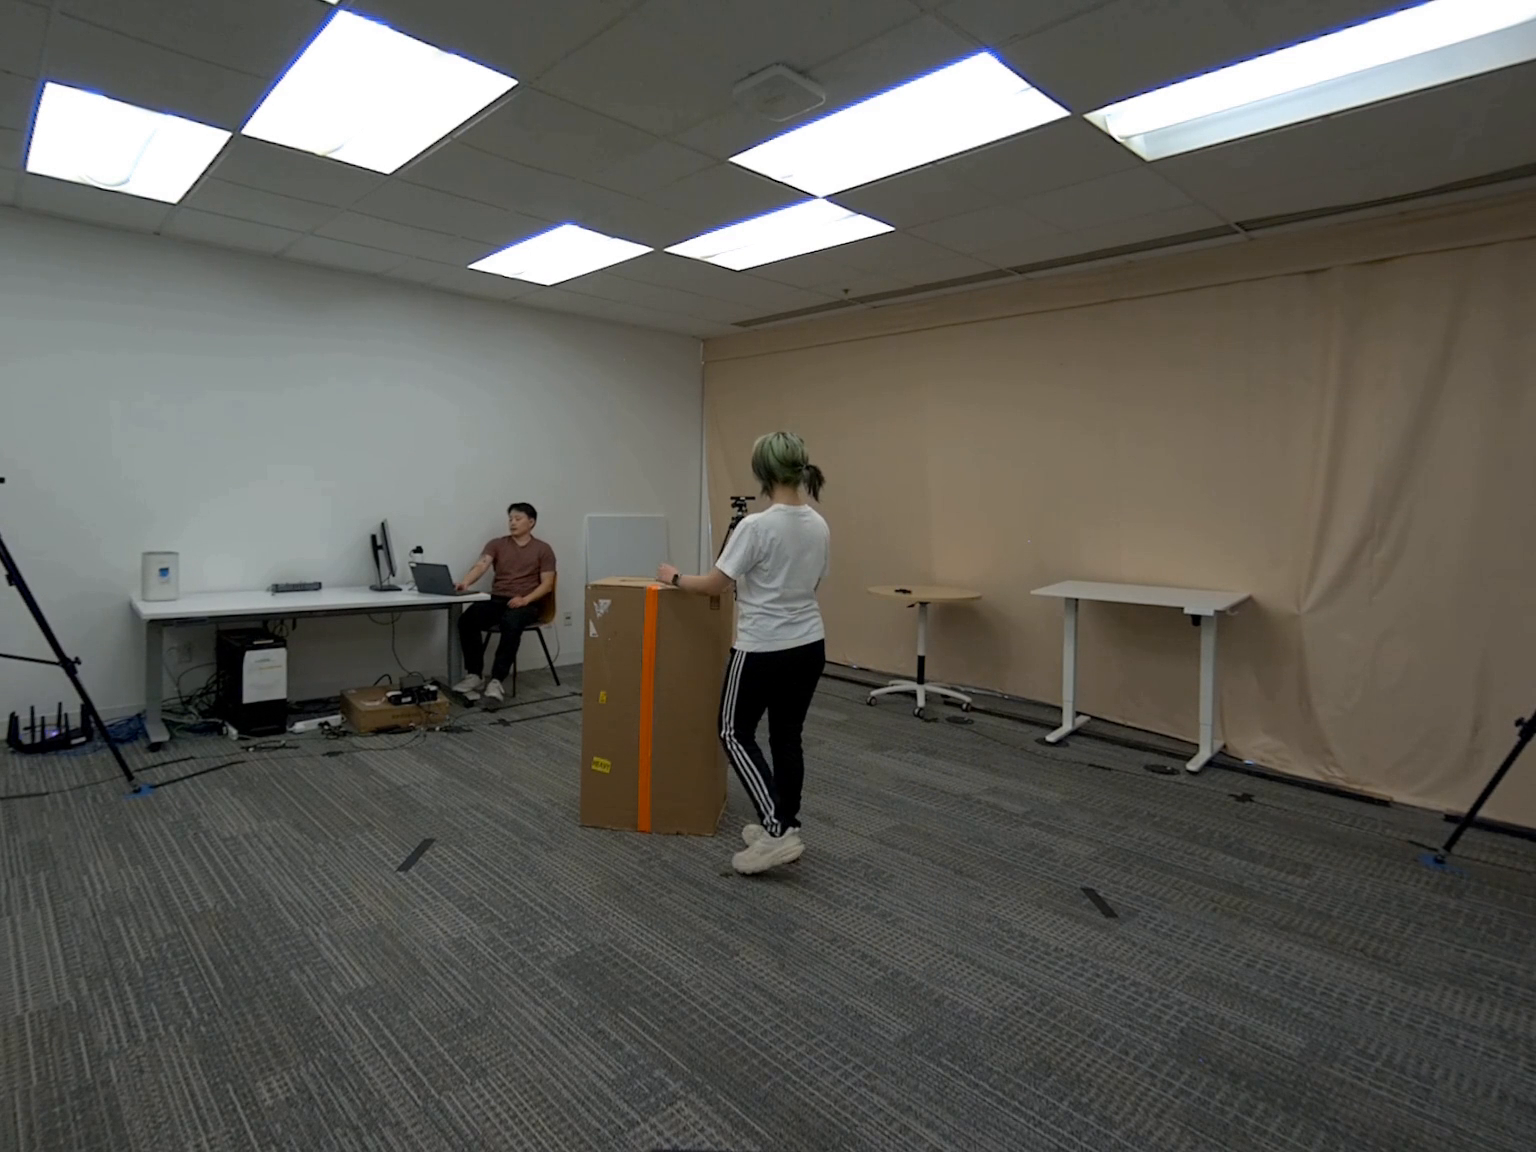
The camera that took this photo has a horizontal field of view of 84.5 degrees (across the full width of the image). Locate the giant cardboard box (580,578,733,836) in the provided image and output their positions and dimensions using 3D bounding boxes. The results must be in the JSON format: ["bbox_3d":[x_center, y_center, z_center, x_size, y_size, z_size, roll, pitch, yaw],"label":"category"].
[{"bbox_3d":[-0.482,0.538,3.678,0.587,1.025,0.445,3,3,6],"label":"giant cardboard box"}]
